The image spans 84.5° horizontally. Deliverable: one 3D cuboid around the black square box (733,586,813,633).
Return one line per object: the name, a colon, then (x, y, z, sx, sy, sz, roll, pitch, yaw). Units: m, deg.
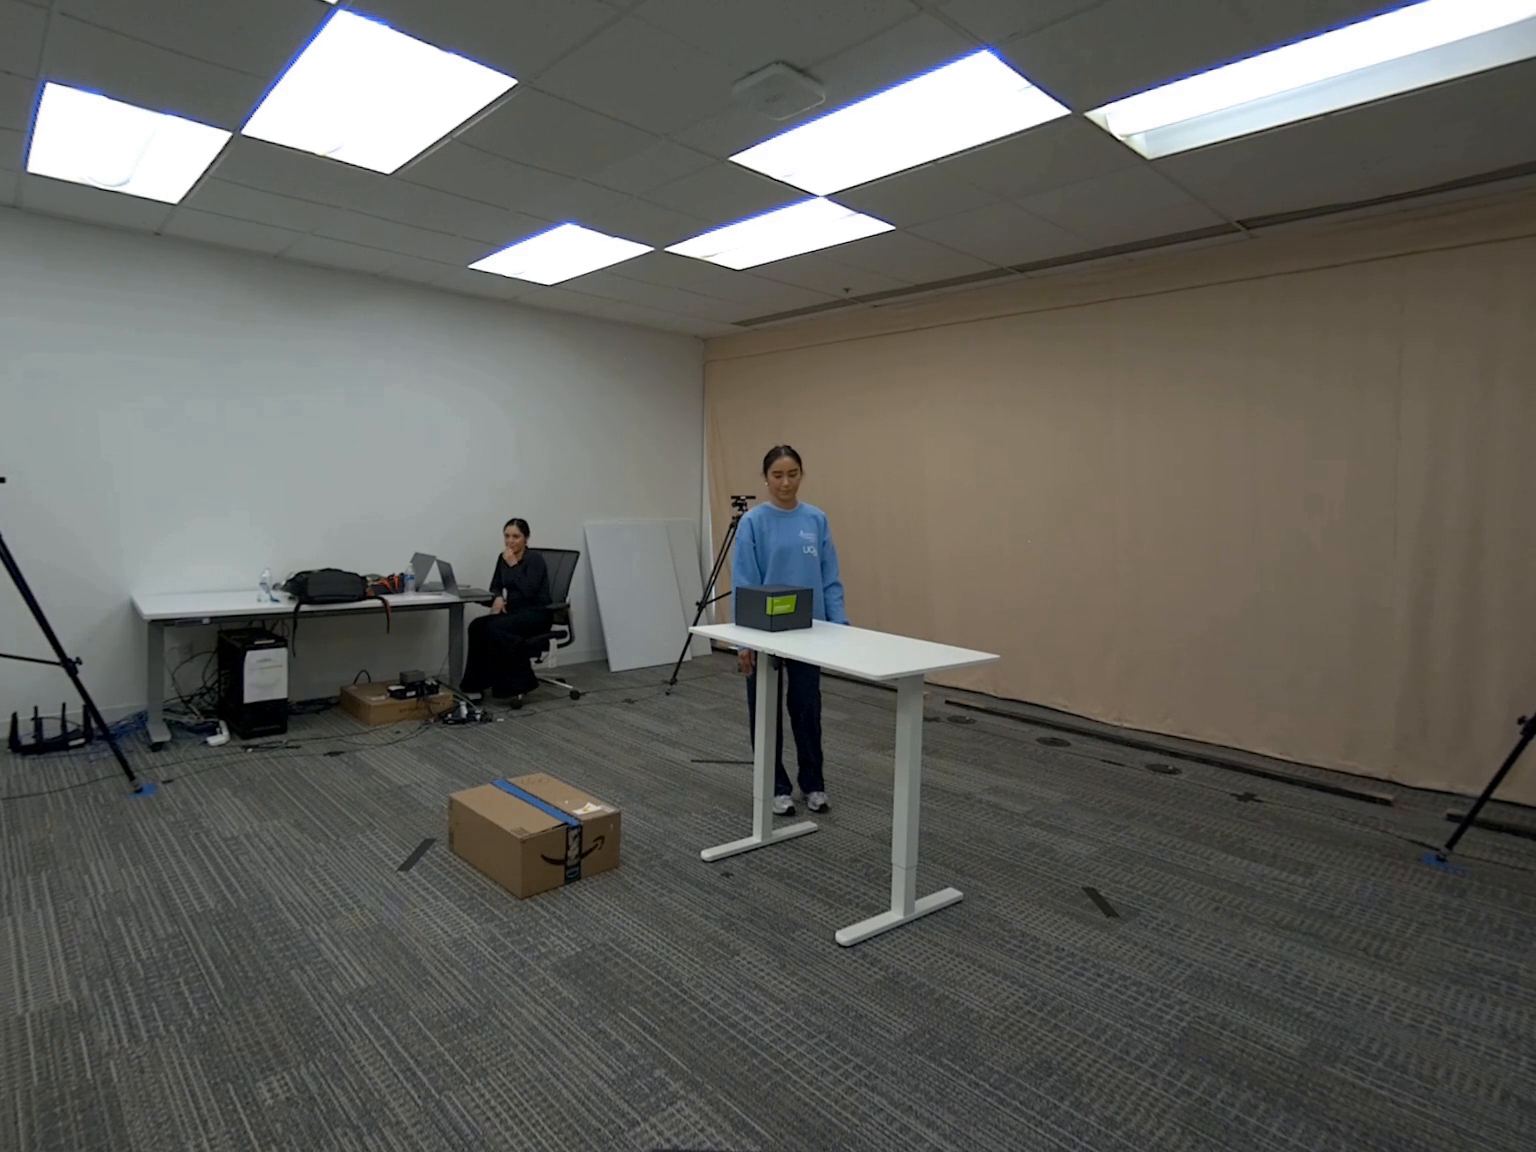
black square box: (0.016, 0.123, 3.341, 0.223, 0.155, 0.222, -2, 6, -42)
